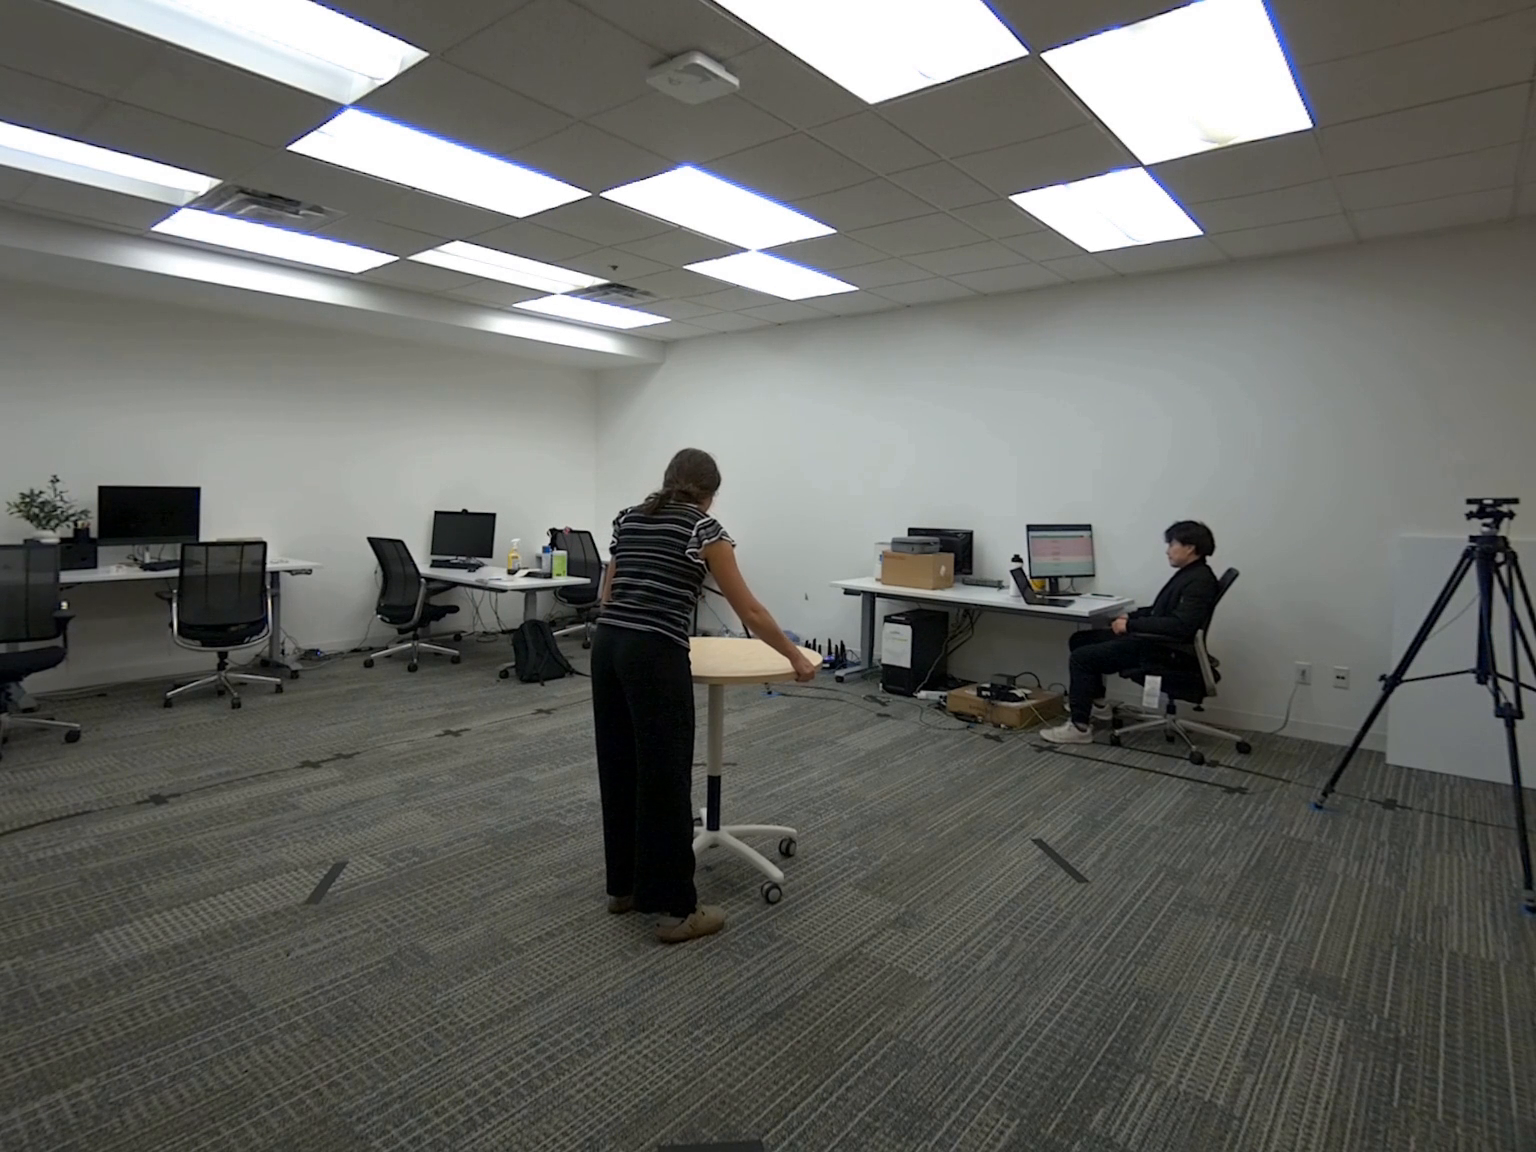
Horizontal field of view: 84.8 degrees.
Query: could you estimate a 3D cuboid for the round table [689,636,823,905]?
[{"bbox_3d":[-0.197,0.677,3.113,0.763,0.792,0.767,1,4,-2],"label":"round table"}]
